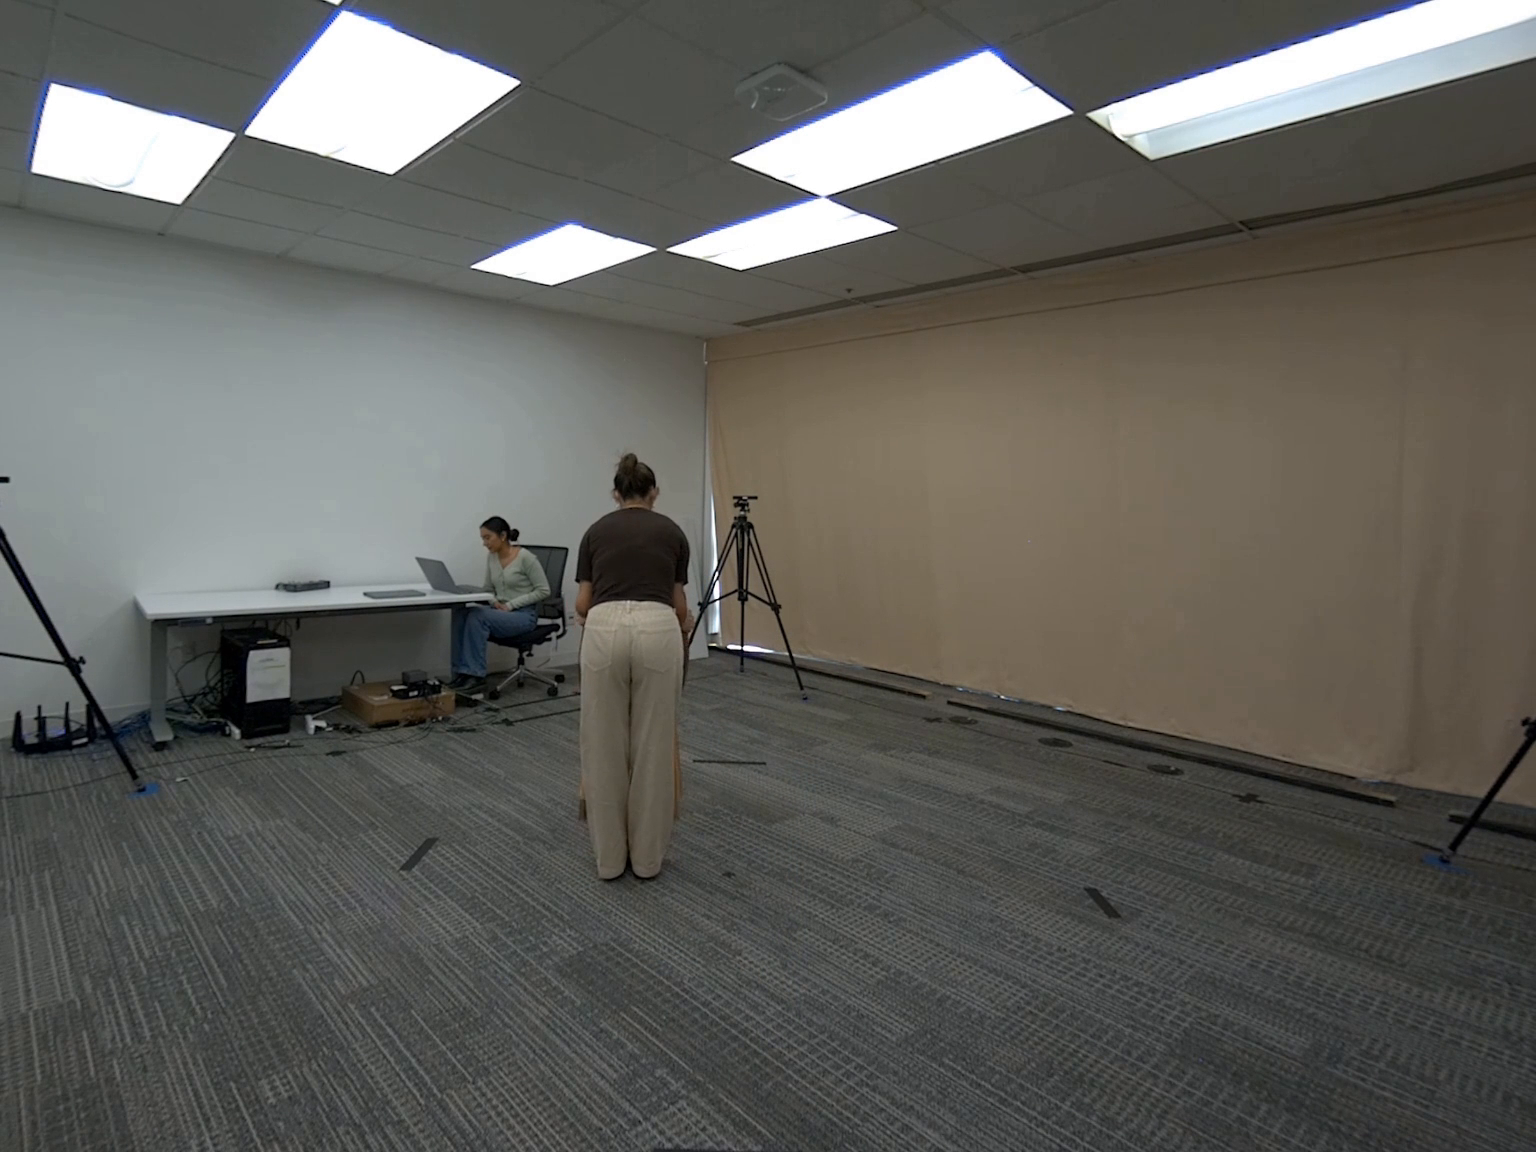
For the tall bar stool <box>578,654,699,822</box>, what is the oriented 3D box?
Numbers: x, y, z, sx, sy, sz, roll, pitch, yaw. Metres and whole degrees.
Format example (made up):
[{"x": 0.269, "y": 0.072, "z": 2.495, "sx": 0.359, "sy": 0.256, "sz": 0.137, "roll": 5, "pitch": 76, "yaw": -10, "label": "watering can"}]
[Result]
[{"x": -0.570, "y": 0.518, "z": 3.466, "sx": 0.453, "sy": 0.906, "sz": 0.462, "roll": 1, "pitch": -25, "yaw": -9, "label": "tall bar stool"}]
